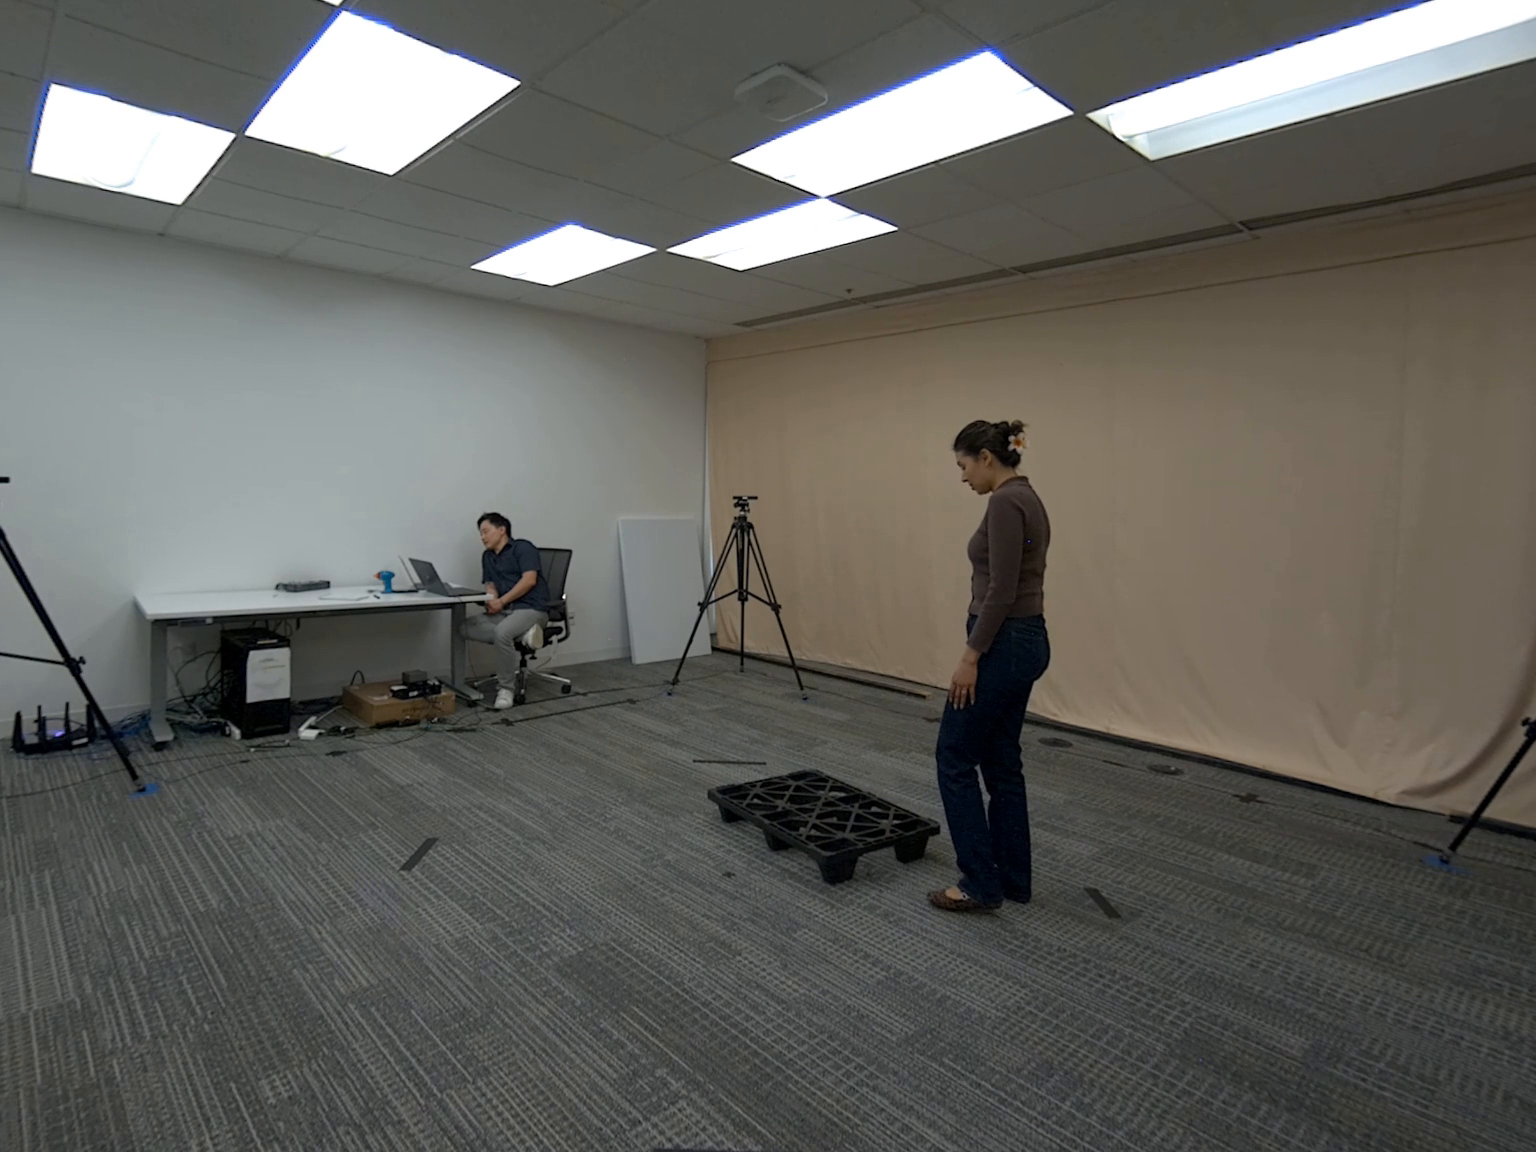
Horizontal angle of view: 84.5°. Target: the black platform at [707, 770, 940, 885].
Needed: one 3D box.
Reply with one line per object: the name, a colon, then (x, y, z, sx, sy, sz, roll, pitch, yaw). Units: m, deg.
black platform: (0.198, 1.015, 3.461, 0.592, 0.143, 0.825, -3, 6, -35)
